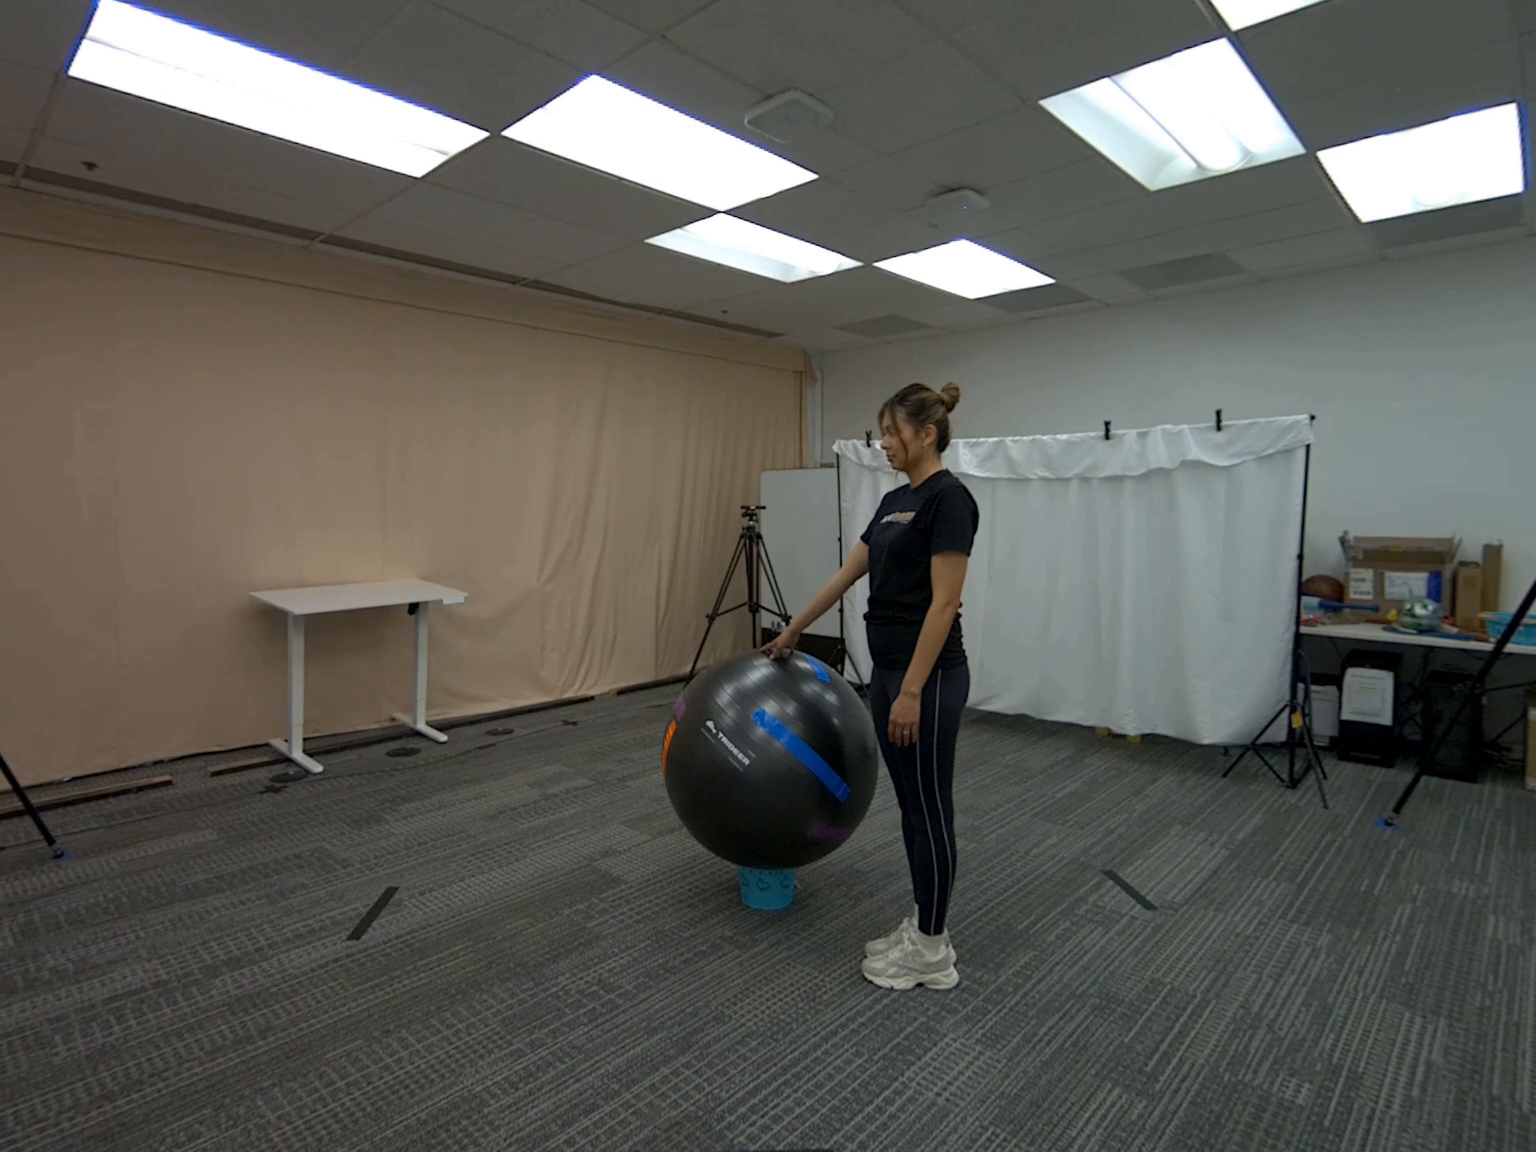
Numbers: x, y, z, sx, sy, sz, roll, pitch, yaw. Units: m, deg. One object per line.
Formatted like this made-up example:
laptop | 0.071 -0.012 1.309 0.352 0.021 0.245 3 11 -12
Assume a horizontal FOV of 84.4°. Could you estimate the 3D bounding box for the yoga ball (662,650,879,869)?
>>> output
yoga ball | 0.009 0.640 2.964 0.757 0.756 0.760 0 4 -2
